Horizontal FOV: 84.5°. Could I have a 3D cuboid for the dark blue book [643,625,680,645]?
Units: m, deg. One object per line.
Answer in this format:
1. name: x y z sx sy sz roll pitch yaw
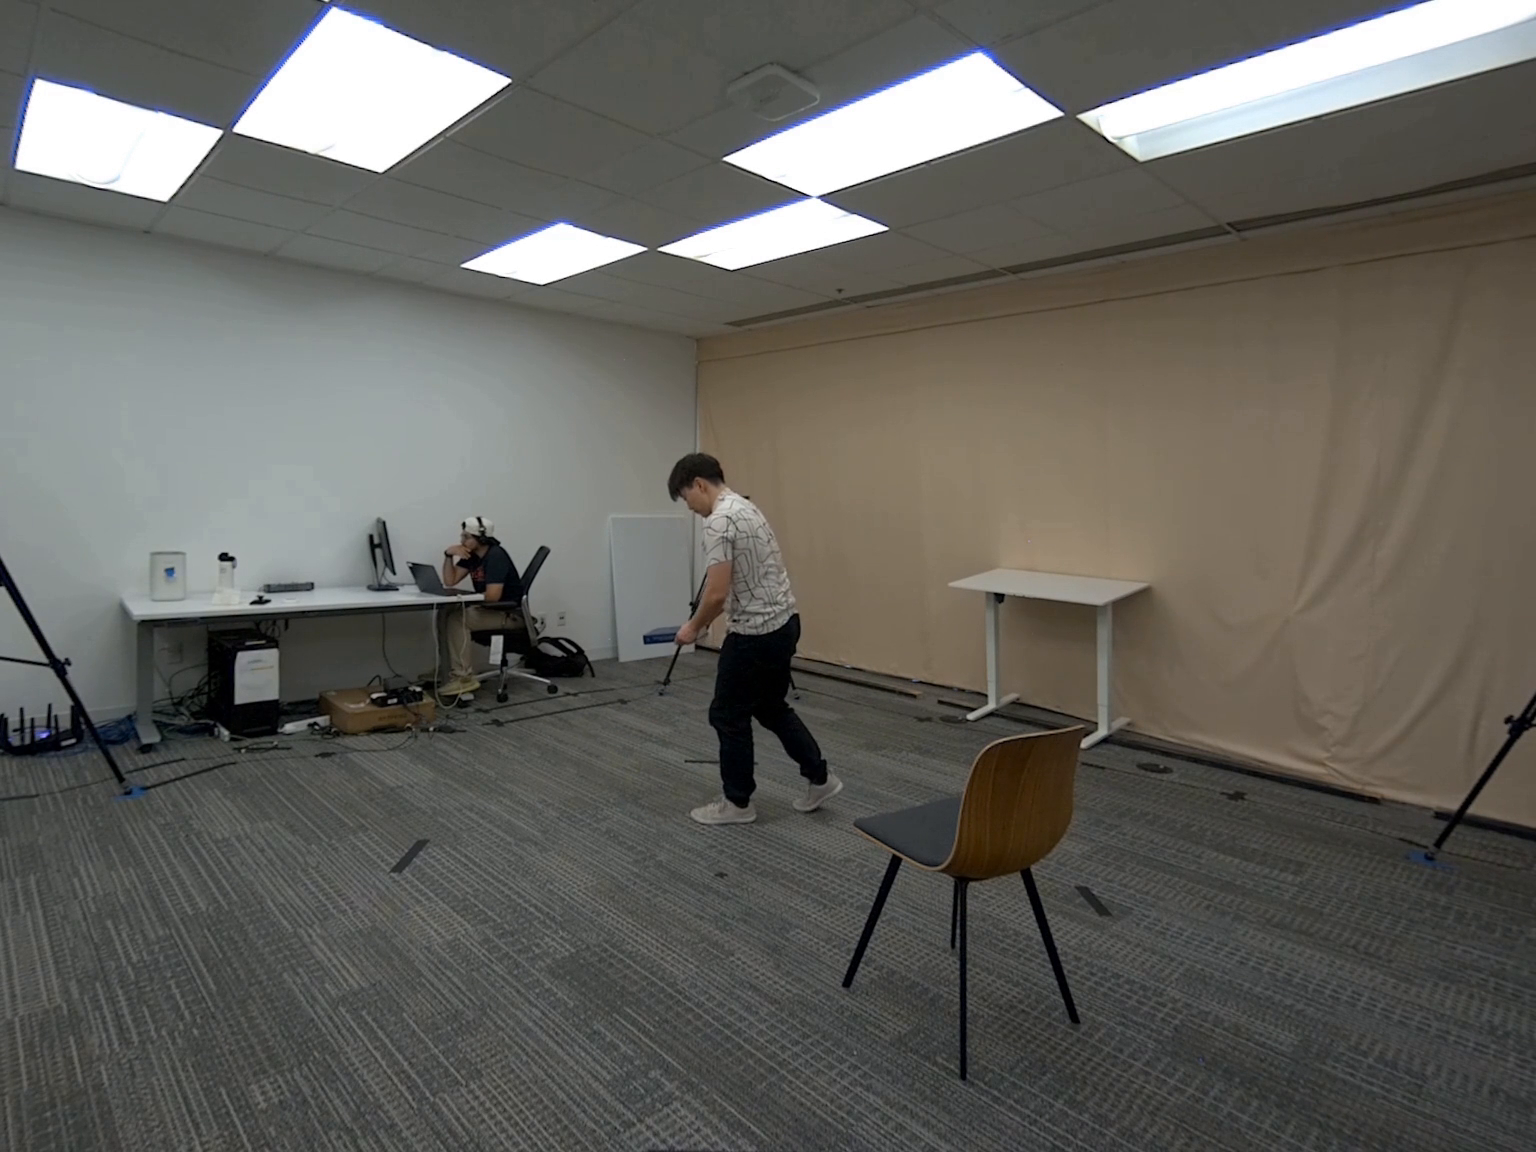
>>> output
1. dark blue book: -0.414 0.260 3.652 0.247 0.045 0.162 -4 5 12
